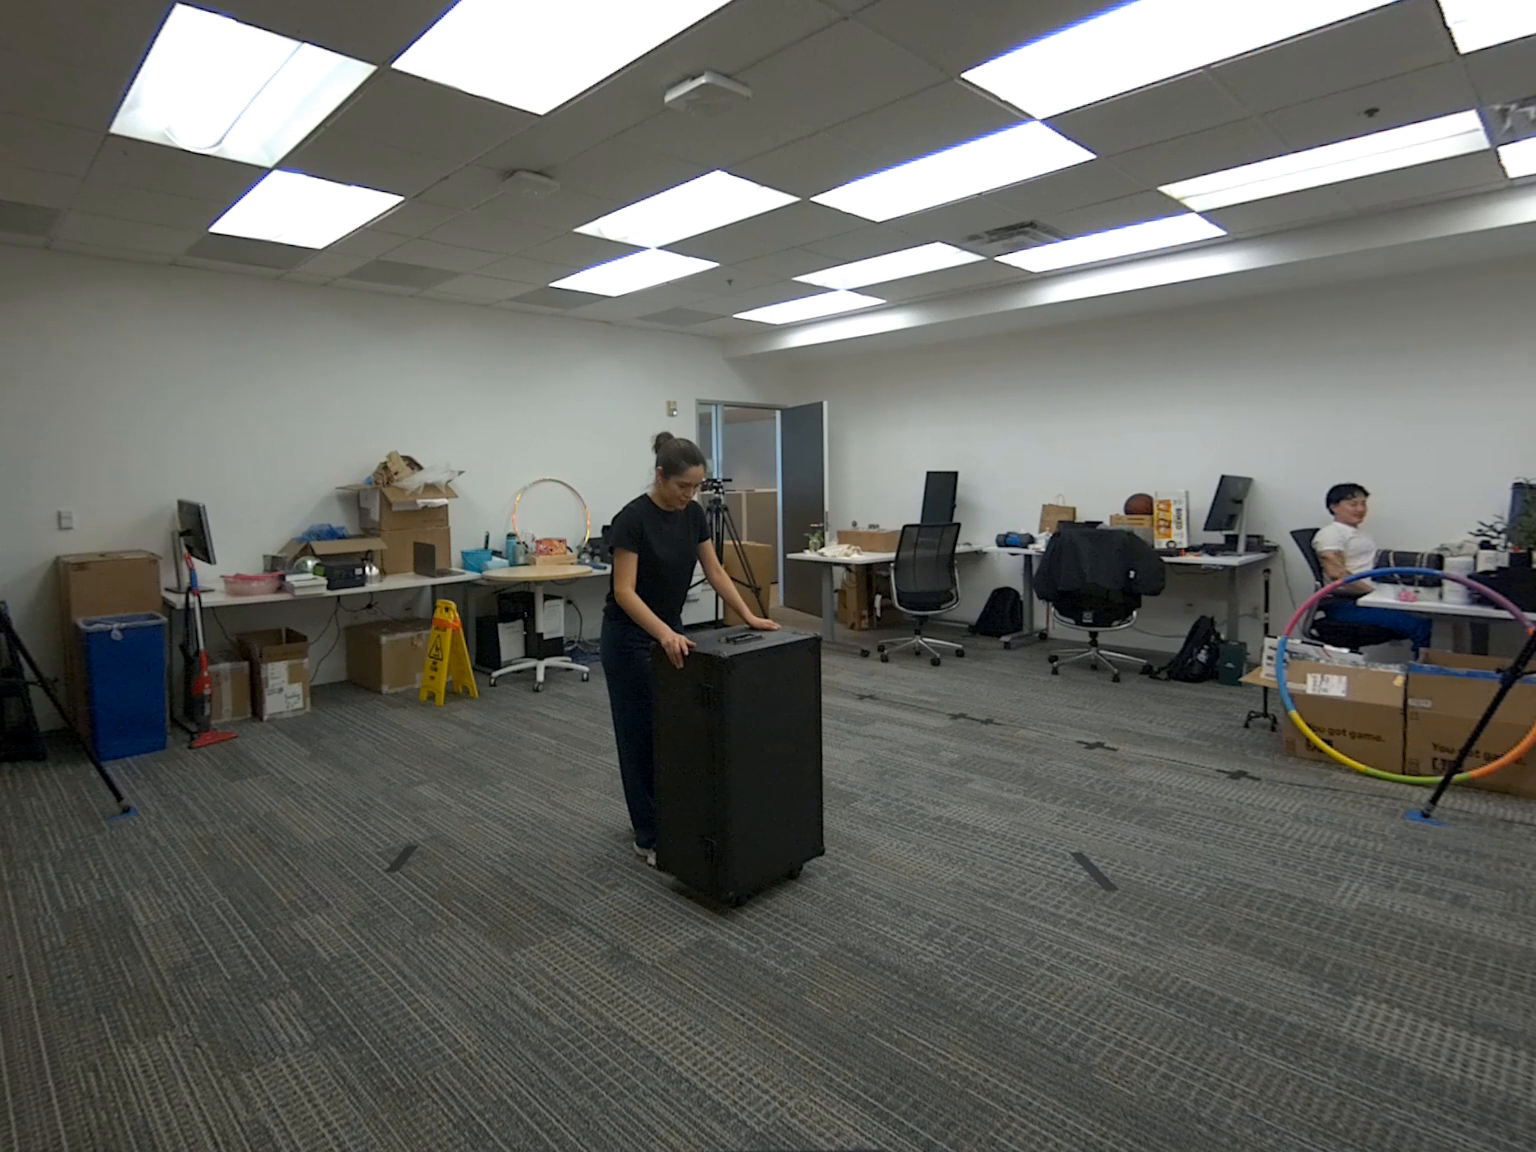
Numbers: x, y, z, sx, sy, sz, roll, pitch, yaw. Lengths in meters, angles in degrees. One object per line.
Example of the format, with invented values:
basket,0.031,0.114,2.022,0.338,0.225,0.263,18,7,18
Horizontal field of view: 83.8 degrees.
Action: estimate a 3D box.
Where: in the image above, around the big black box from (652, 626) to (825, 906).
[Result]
big black box,-0.106,0.580,2.962,0.408,0.858,0.507,4,7,44
